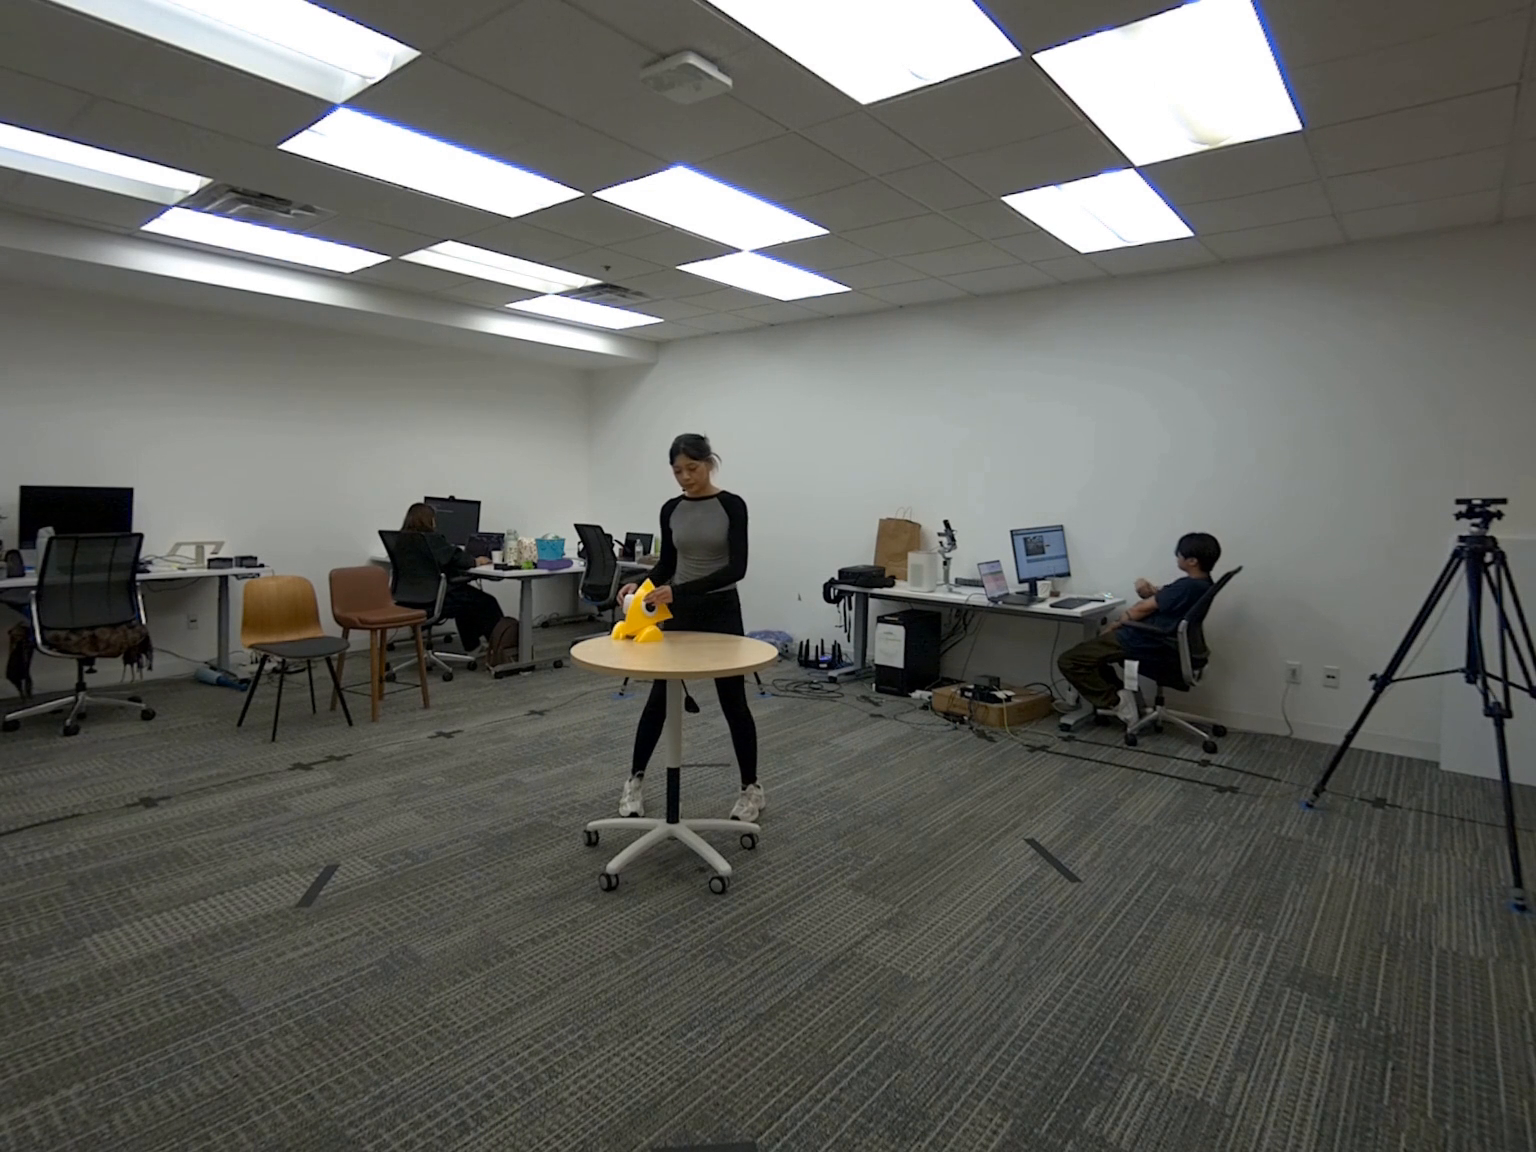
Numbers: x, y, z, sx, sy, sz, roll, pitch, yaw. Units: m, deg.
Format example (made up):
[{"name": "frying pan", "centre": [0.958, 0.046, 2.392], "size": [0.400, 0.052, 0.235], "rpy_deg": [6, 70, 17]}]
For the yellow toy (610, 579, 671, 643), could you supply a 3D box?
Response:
[{"name": "yellow toy", "centre": [-0.521, 0.129, 3.387], "size": [0.210, 0.230, 0.188], "rpy_deg": [4, 6, 28]}]
